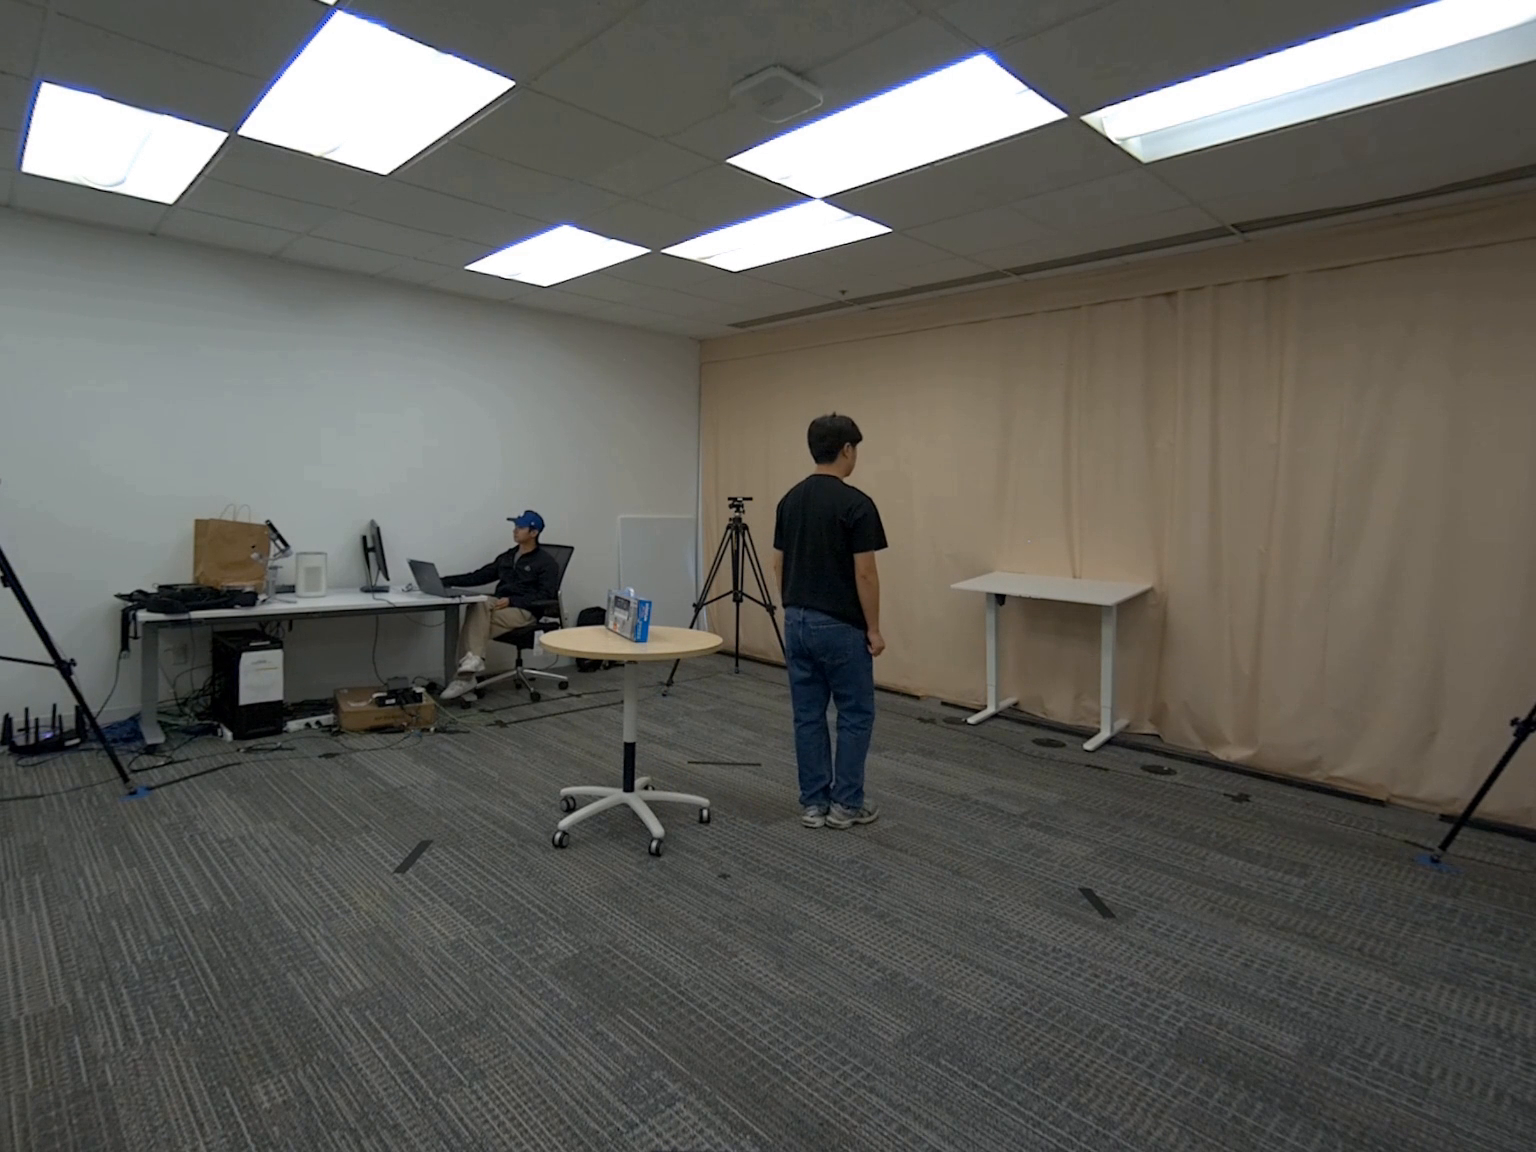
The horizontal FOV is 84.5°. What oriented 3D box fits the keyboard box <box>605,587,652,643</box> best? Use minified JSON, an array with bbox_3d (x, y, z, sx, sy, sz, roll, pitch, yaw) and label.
[{"bbox_3d":[-0.612,0.166,3.635,0.058,0.176,0.446,7,2,-26],"label":"keyboard box"}]
